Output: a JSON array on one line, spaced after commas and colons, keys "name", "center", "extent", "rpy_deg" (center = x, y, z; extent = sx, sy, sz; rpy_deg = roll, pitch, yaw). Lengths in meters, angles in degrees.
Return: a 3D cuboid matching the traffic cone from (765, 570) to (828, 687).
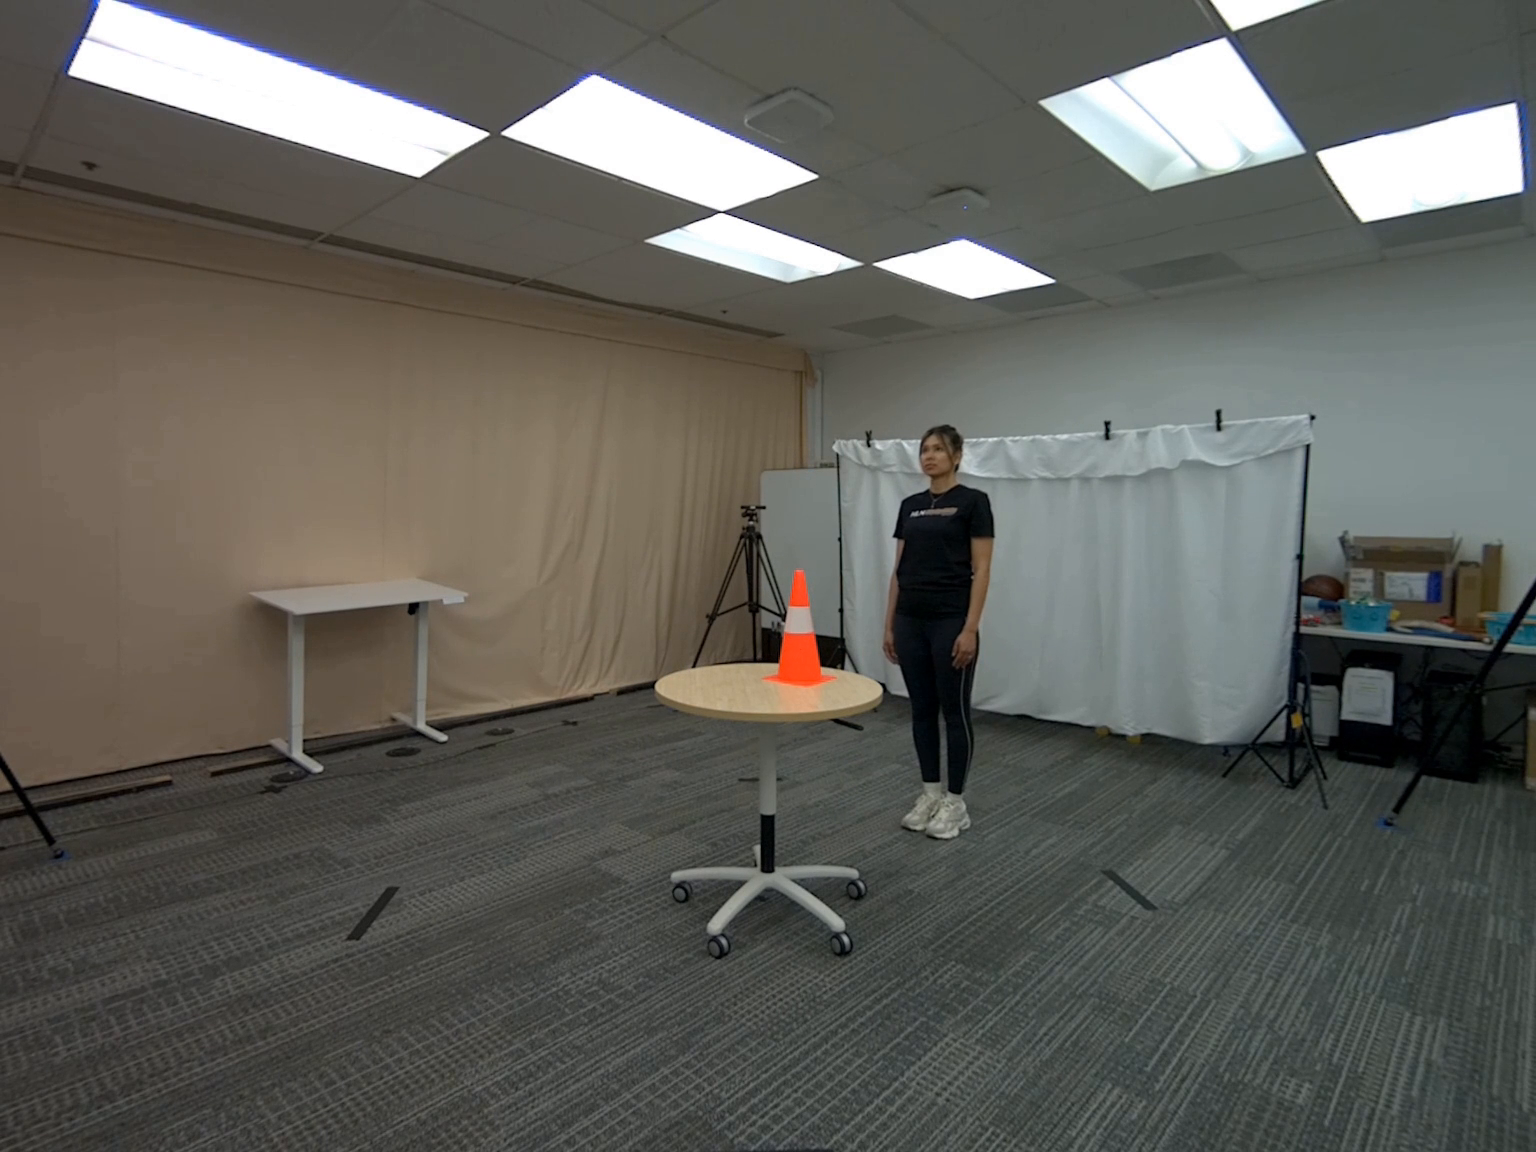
[{"name": "traffic cone", "center": [0.124, 0.176, 2.955], "extent": [0.210, 0.383, 0.199], "rpy_deg": [4, 4, 33]}]
